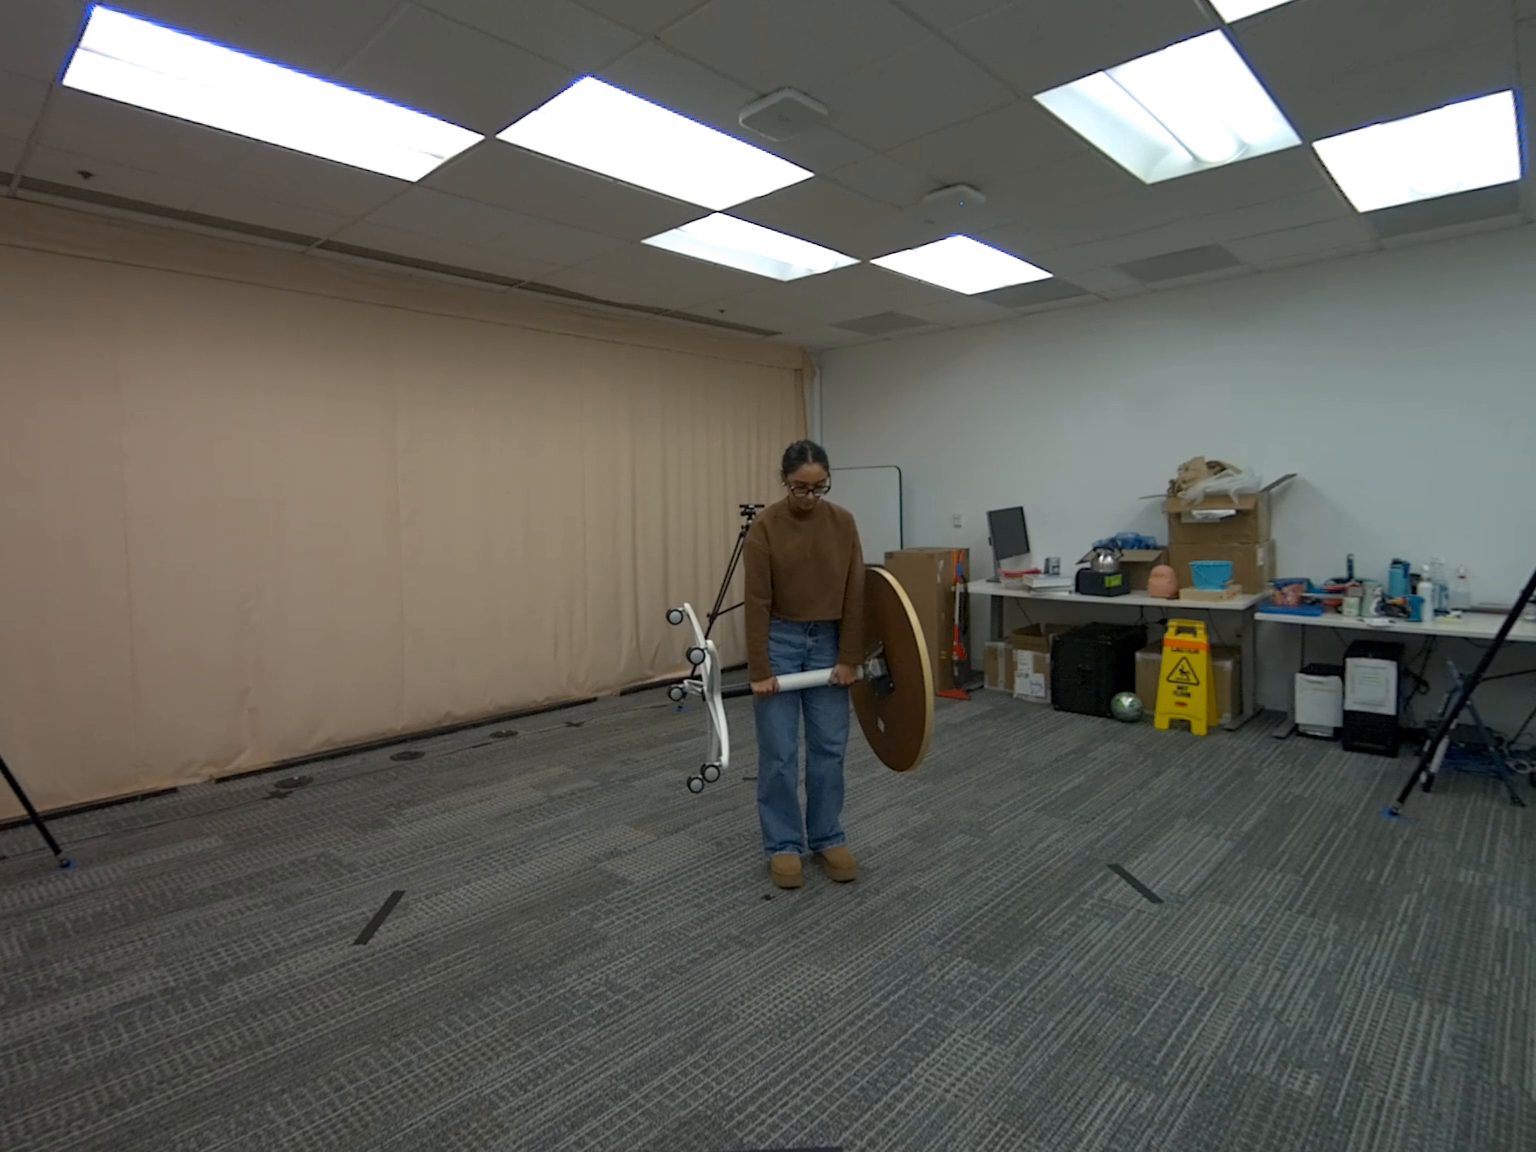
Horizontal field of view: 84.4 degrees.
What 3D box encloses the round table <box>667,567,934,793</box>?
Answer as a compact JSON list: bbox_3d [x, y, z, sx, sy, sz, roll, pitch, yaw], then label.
[{"bbox_3d":[0.068,0.403,3.118,0.784,0.761,0.777,-8,5,-14],"label":"round table"}]
